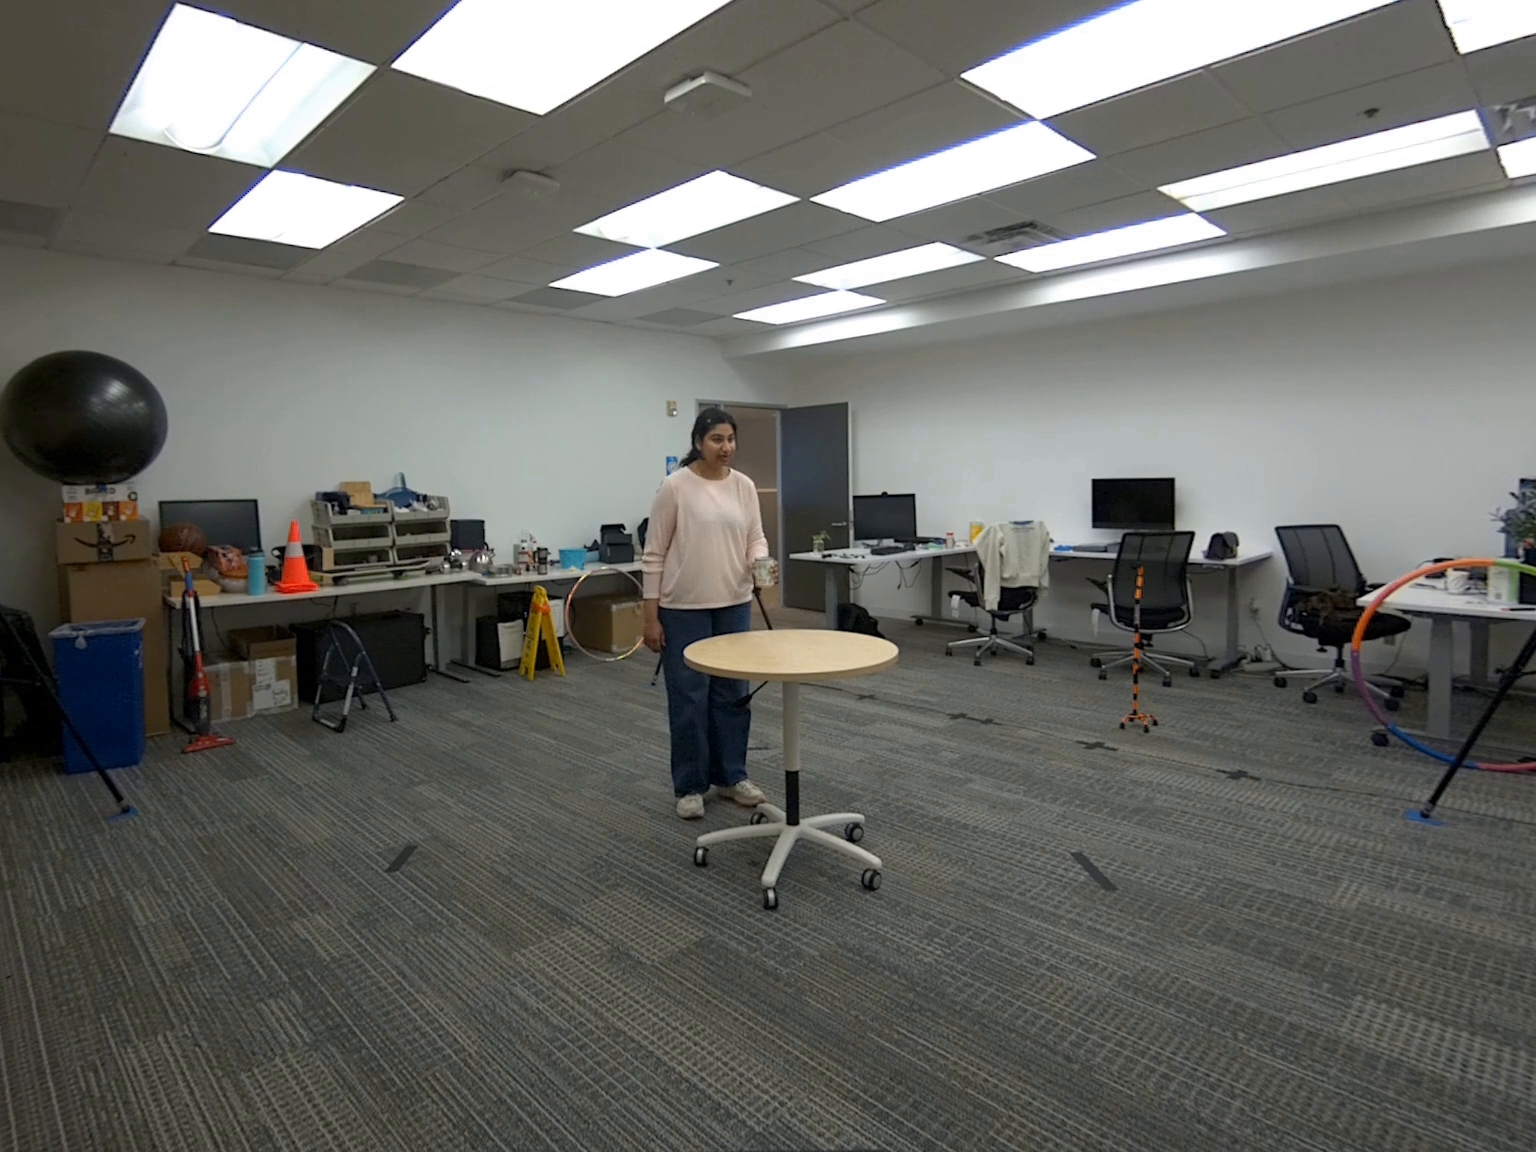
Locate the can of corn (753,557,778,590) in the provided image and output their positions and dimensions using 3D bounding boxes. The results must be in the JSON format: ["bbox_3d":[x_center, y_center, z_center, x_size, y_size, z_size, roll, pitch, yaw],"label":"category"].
[{"bbox_3d":[-0.026,-0.009,3.375,0.074,0.110,0.075,-1,6,-2],"label":"can of corn"}]
